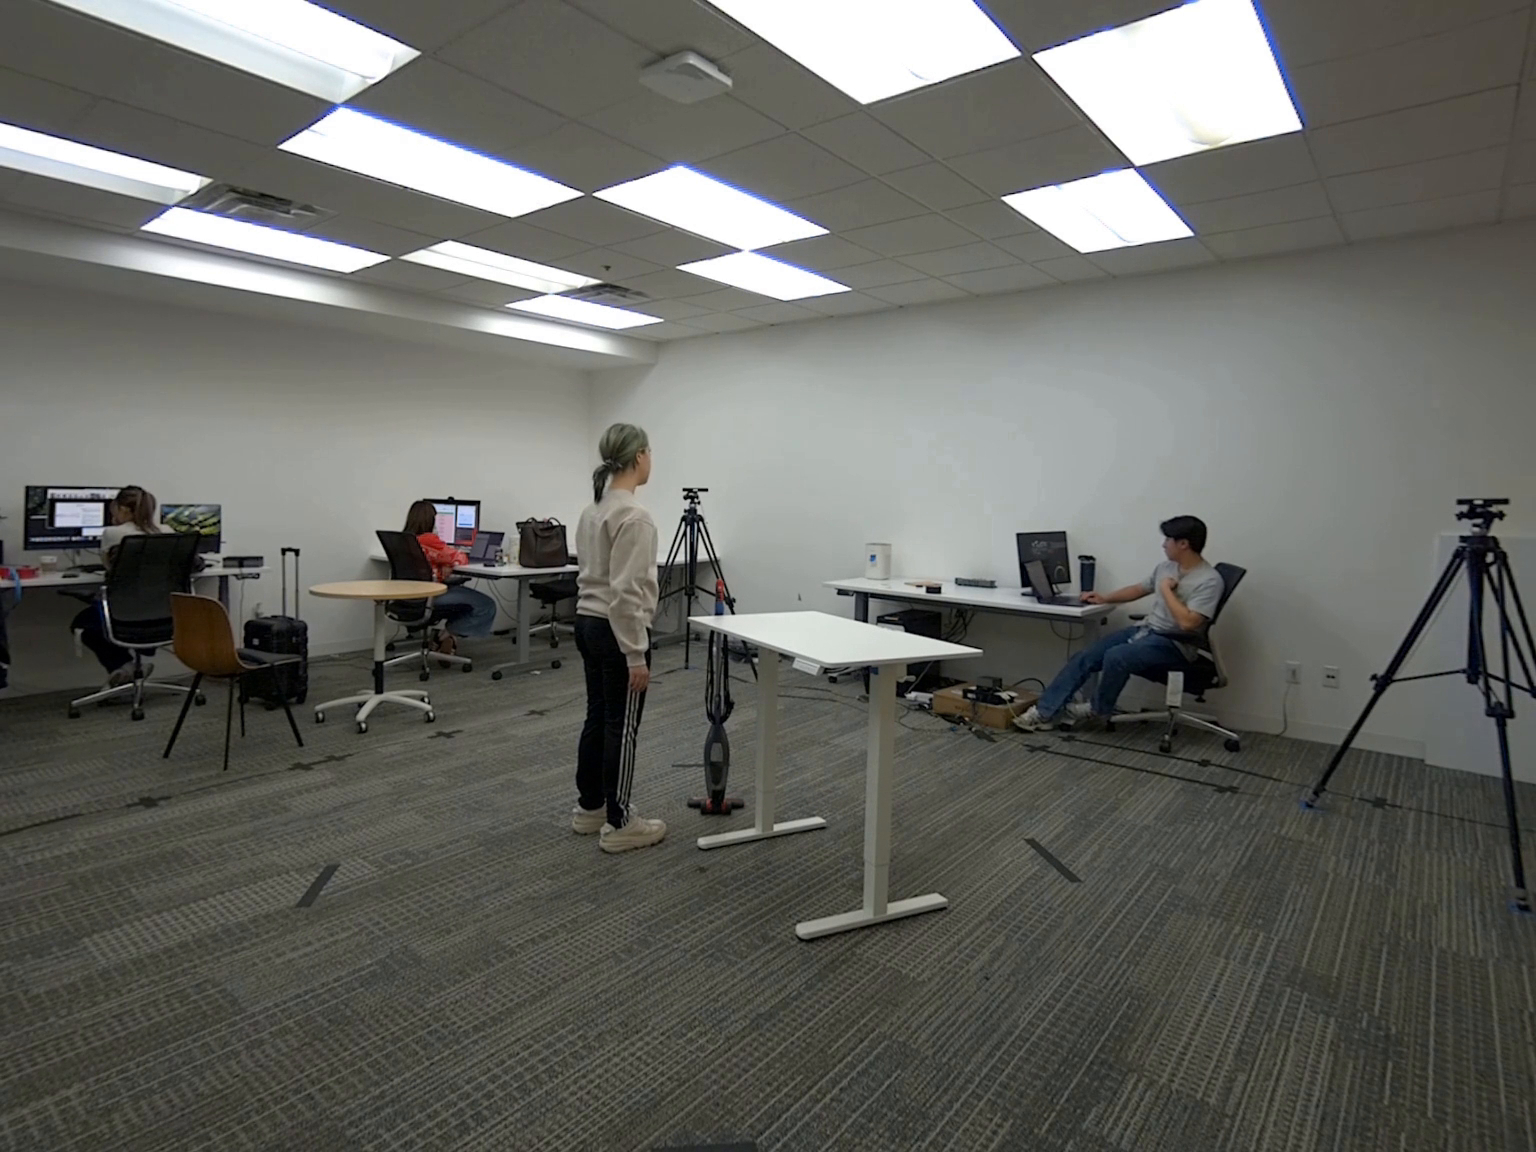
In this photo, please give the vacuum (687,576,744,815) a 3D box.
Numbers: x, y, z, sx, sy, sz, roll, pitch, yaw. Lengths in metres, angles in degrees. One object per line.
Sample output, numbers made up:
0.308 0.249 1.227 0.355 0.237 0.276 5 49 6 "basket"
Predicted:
-0.226 0.525 3.554 0.252 1.033 0.146 0 17 -2 "vacuum"
